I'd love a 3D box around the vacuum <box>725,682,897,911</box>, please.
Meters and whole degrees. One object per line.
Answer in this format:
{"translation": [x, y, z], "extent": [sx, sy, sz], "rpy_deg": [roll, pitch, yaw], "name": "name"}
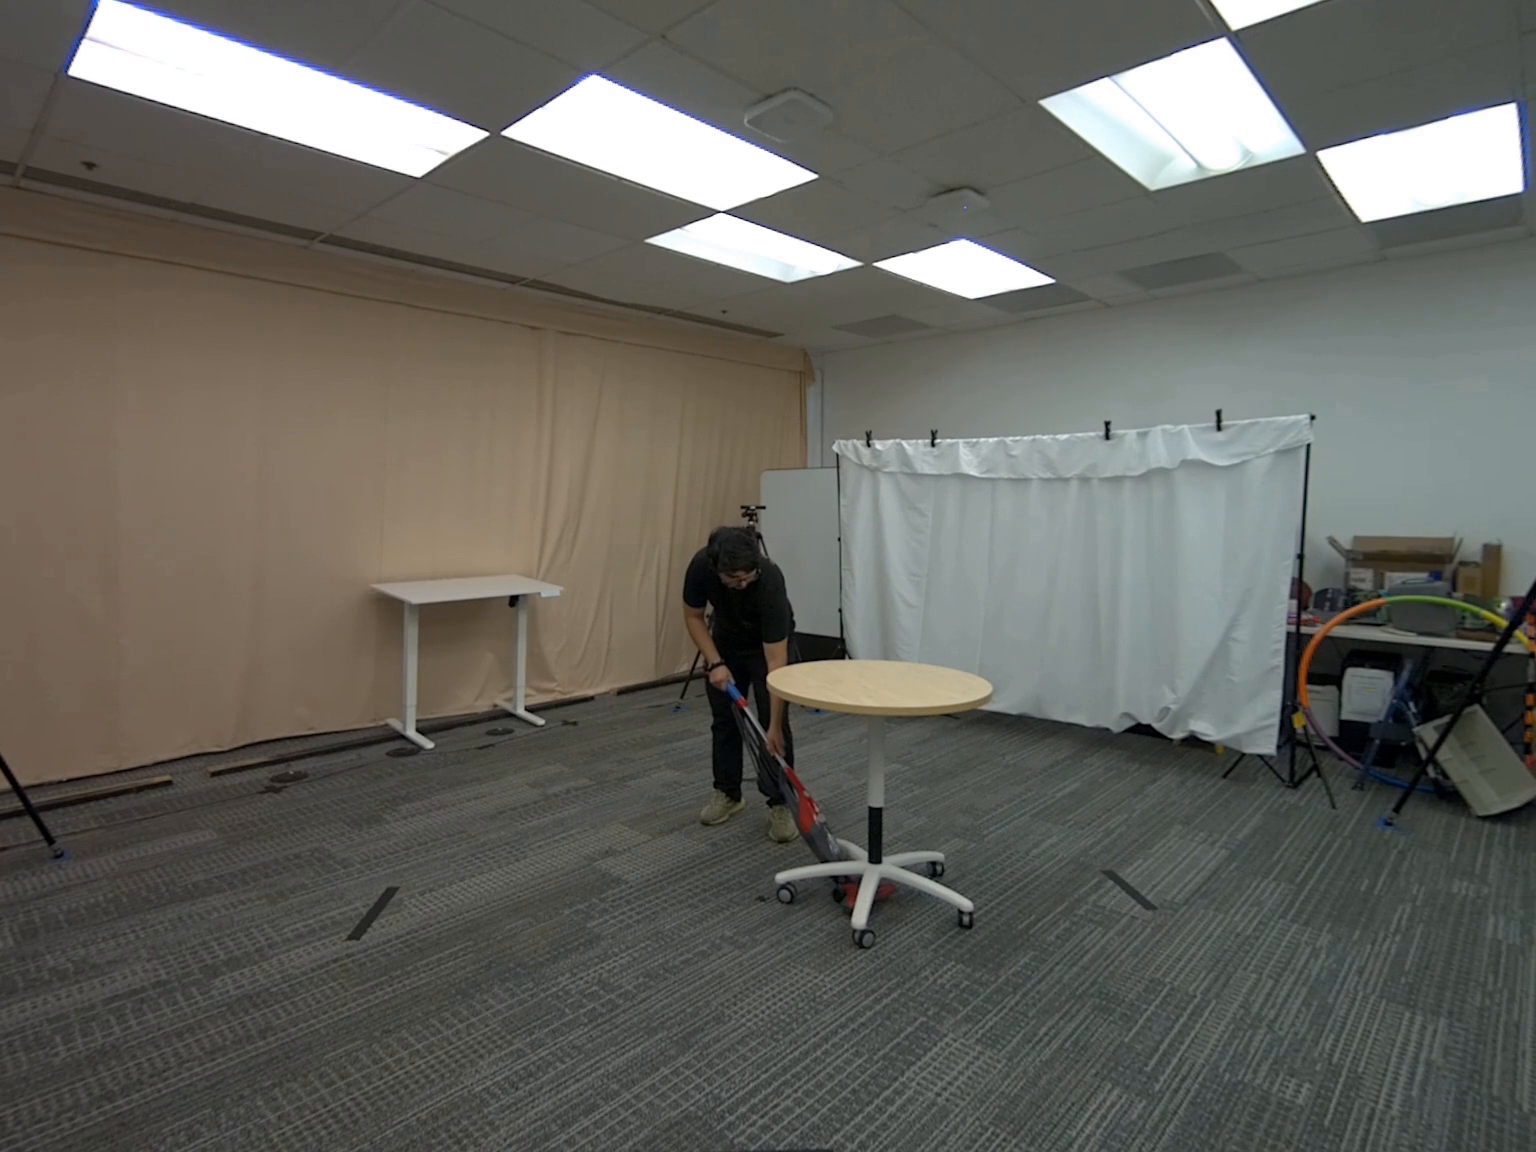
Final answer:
{"translation": [0.052, 0.753, 3.259], "extent": [0.244, 0.144, 1.084], "rpy_deg": [7, 35, -47], "name": "vacuum"}
